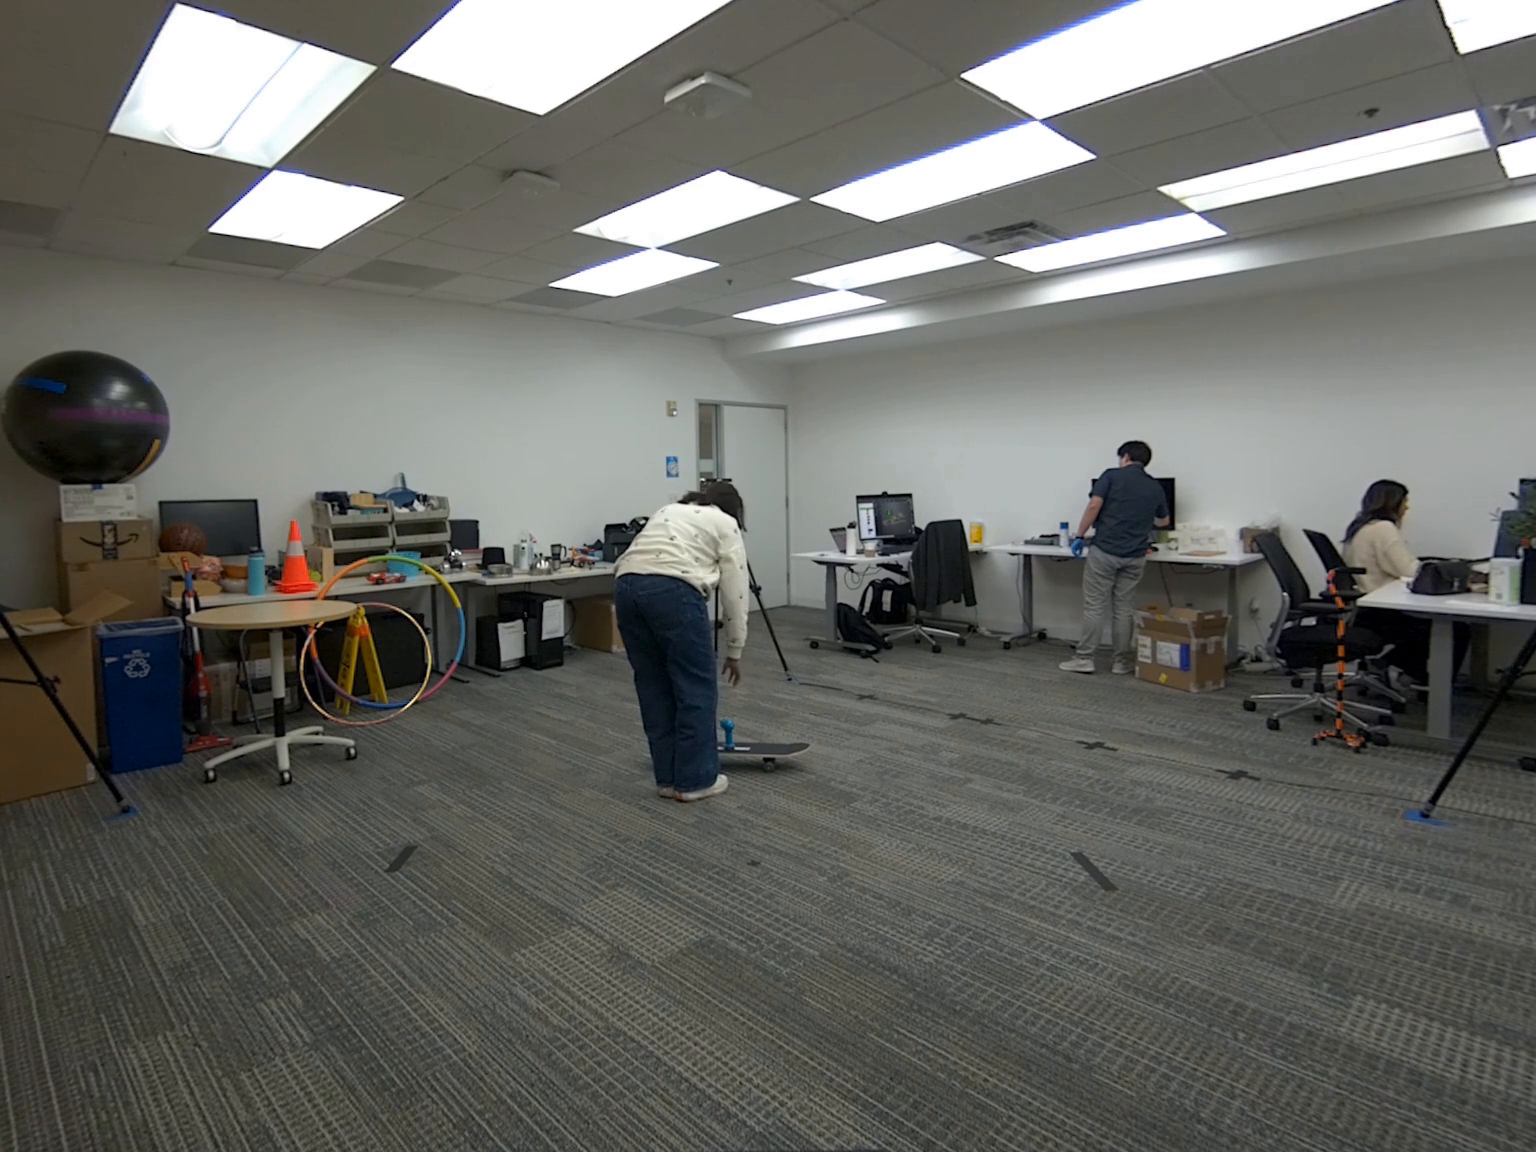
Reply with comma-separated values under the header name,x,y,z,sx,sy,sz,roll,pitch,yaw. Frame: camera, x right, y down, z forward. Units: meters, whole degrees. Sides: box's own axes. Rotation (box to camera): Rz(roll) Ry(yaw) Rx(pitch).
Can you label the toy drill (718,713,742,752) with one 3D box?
name,x,y,z,sx,sy,sz,roll,pitch,yaw
toy drill,-0.189,0.766,4.218,0.060,0.146,0.173,2,3,-19
